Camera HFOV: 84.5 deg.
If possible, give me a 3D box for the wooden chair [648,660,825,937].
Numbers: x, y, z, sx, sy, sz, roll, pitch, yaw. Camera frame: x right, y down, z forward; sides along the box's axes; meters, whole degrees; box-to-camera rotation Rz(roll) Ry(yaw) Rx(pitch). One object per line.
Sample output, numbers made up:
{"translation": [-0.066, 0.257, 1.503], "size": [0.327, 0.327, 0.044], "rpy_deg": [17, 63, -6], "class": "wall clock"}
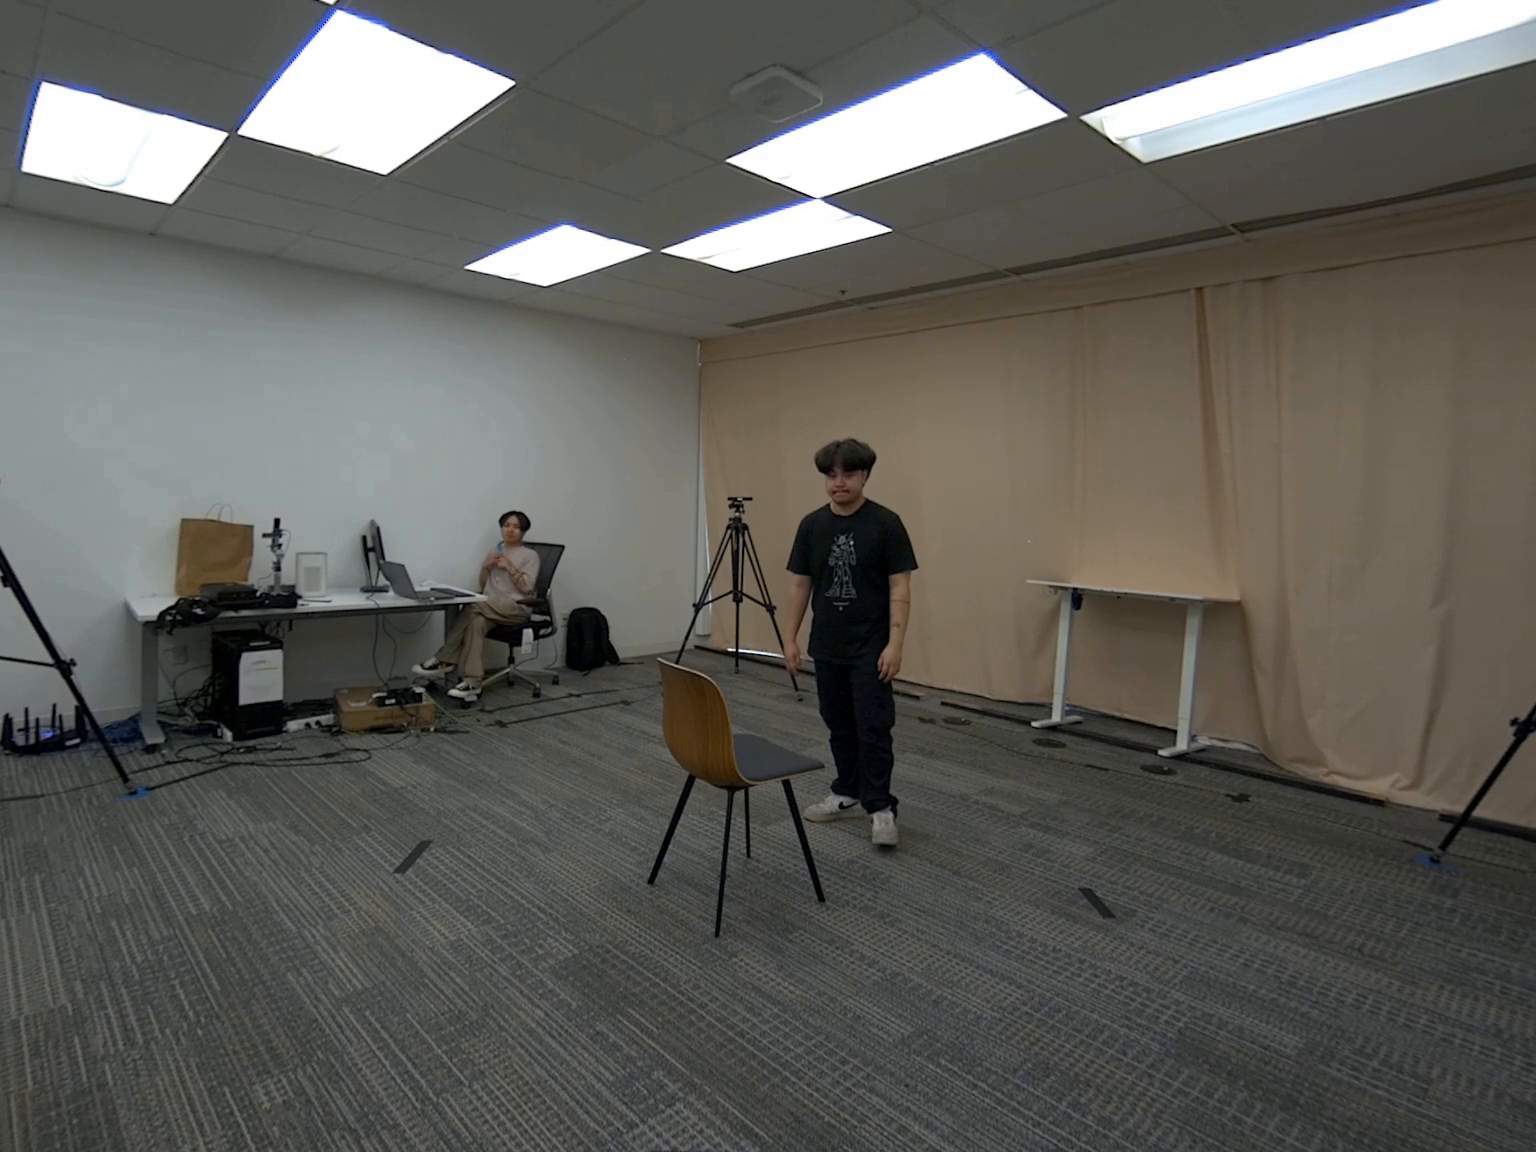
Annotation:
{"translation": [-0.107, 0.695, 2.949], "size": [0.513, 0.873, 0.490], "rpy_deg": [-7, 7, -36], "class": "wooden chair"}
